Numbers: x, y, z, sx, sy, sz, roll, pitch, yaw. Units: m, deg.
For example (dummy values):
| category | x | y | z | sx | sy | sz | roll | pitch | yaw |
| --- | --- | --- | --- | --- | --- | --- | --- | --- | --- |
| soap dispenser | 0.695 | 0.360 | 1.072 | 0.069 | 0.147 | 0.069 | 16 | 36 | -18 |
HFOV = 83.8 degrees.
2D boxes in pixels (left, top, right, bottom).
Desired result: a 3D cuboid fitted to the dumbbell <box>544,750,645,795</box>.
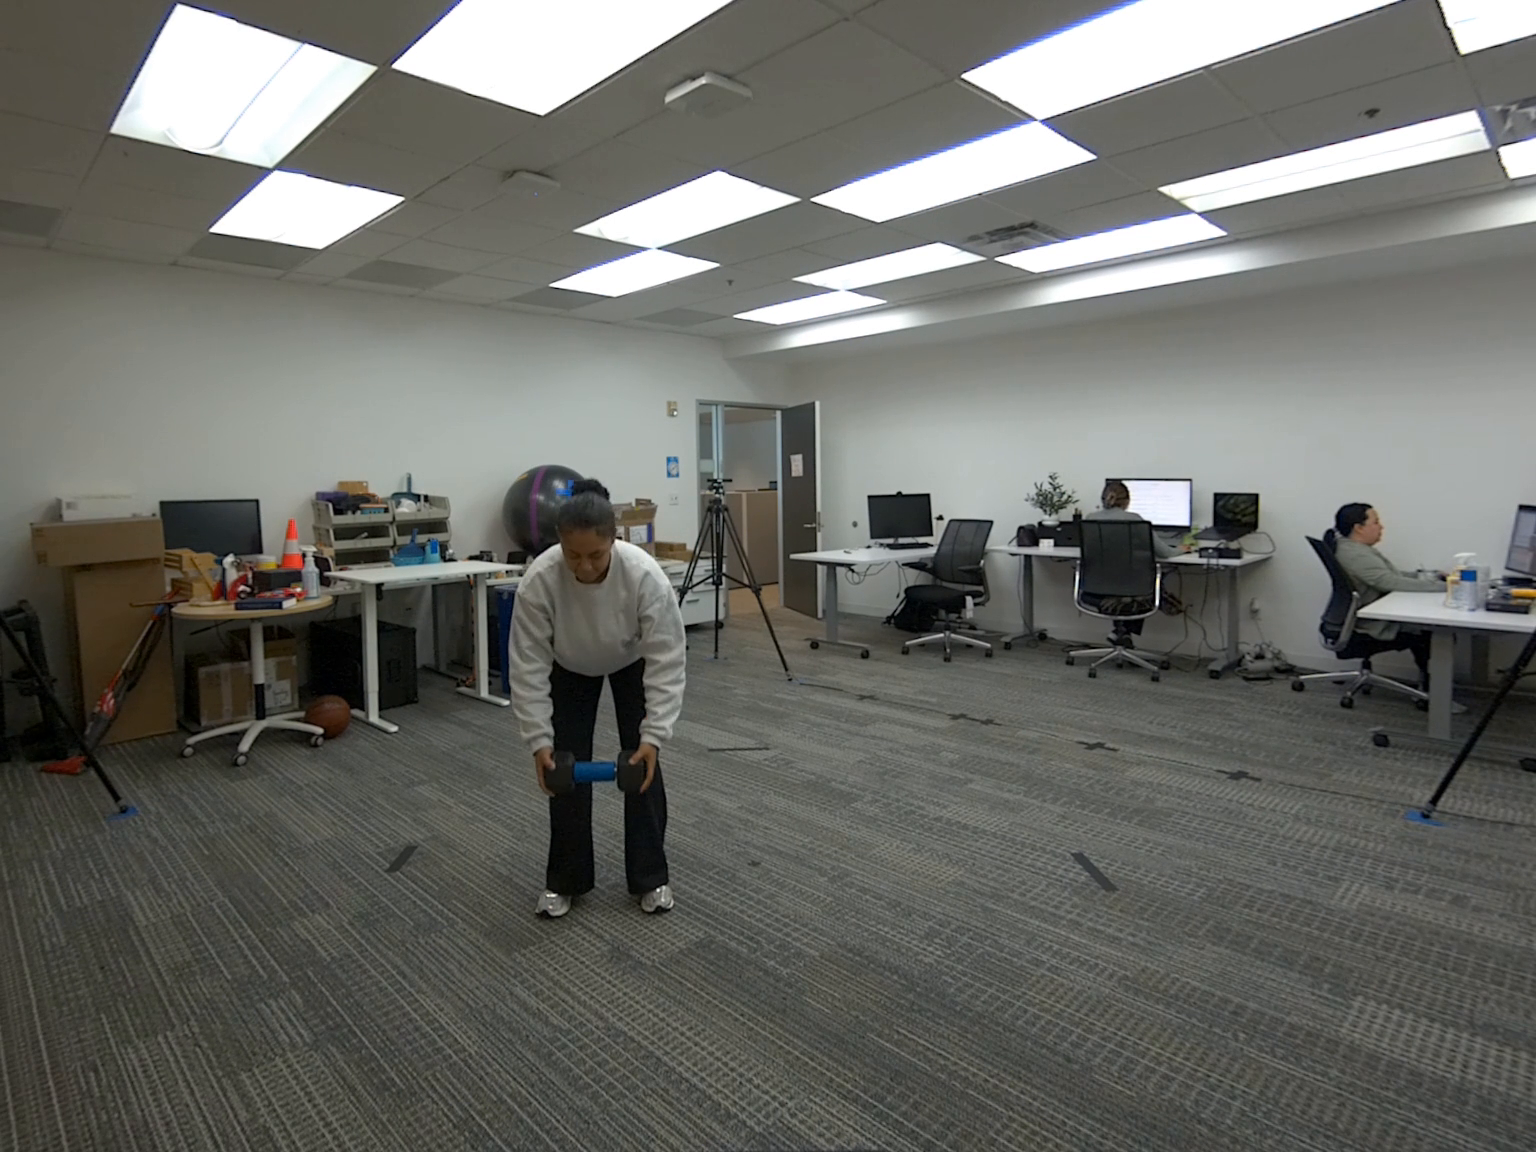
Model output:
| category | x | y | z | sx | sy | sz | roll | pitch | yaw |
| --- | --- | --- | --- | --- | --- | --- | --- | --- | --- |
| dumbbell | -0.524 | 0.578 | 2.578 | 0.293 | 0.106 | 0.125 | 4 | 29 | -1 |
